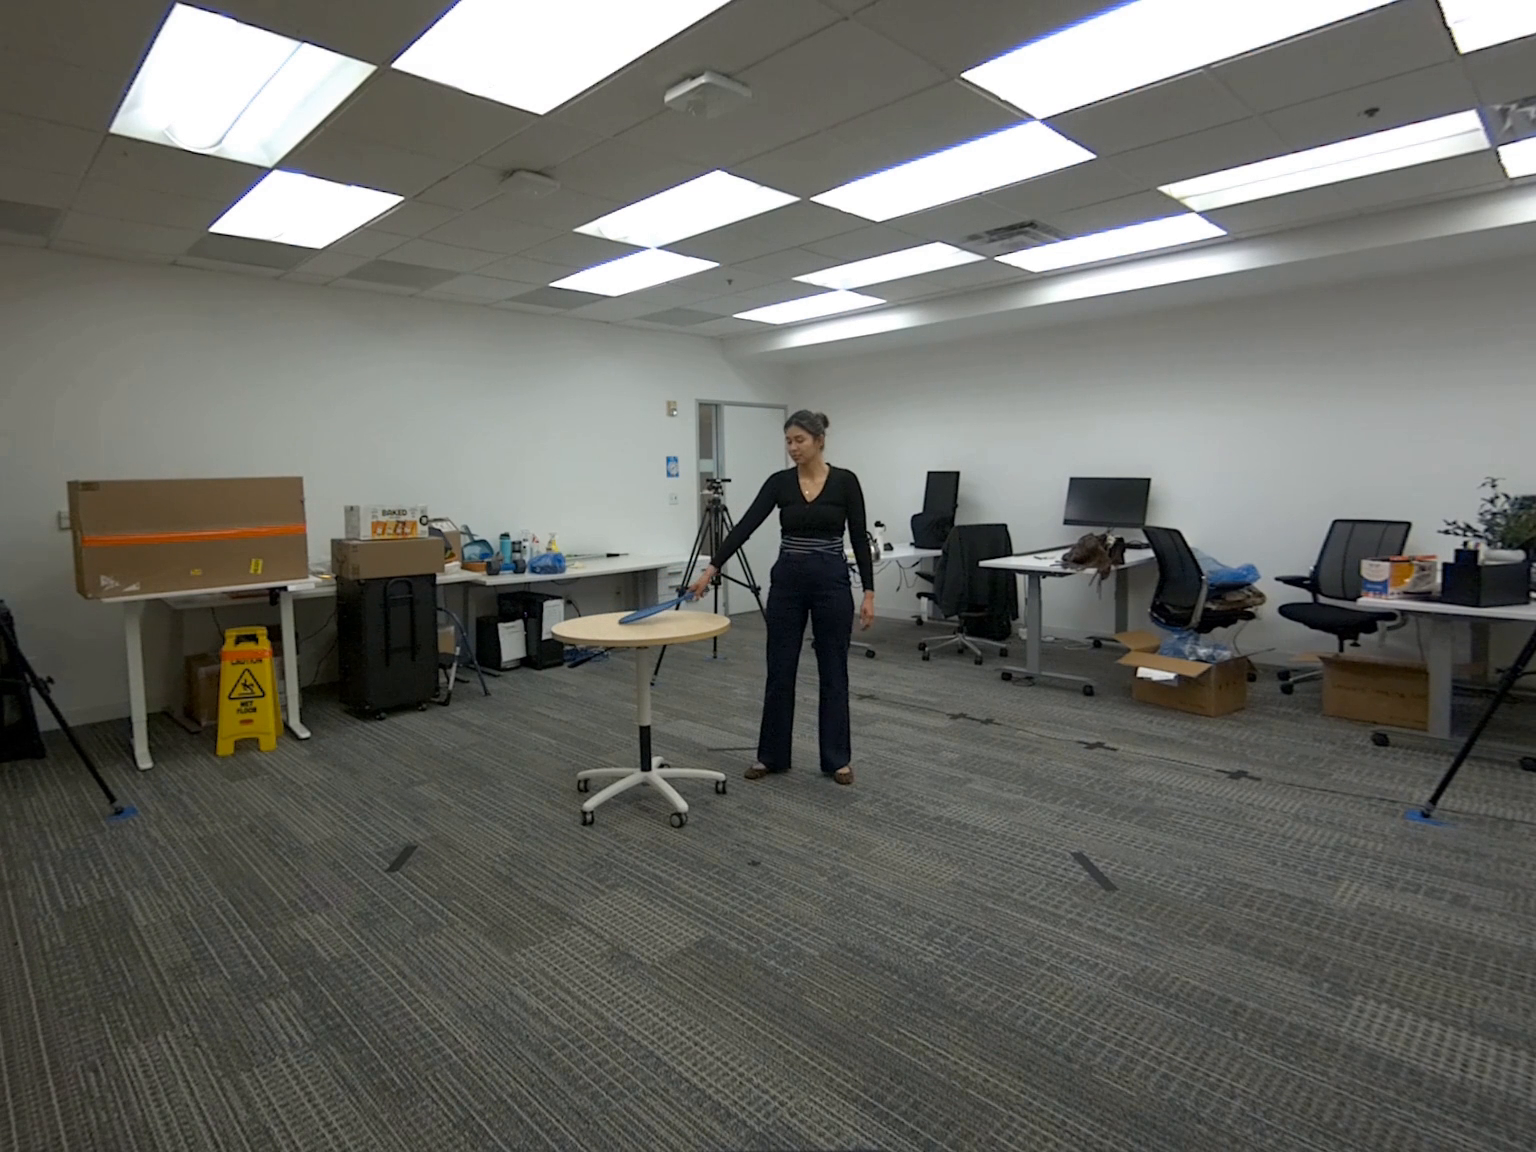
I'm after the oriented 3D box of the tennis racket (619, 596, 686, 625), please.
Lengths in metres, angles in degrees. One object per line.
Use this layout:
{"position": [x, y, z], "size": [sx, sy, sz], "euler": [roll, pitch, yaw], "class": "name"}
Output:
{"position": [-0.466, 0.135, 3.773], "size": [0.428, 0.031, 0.218], "euler": [-21, 10, -19], "class": "tennis racket"}
